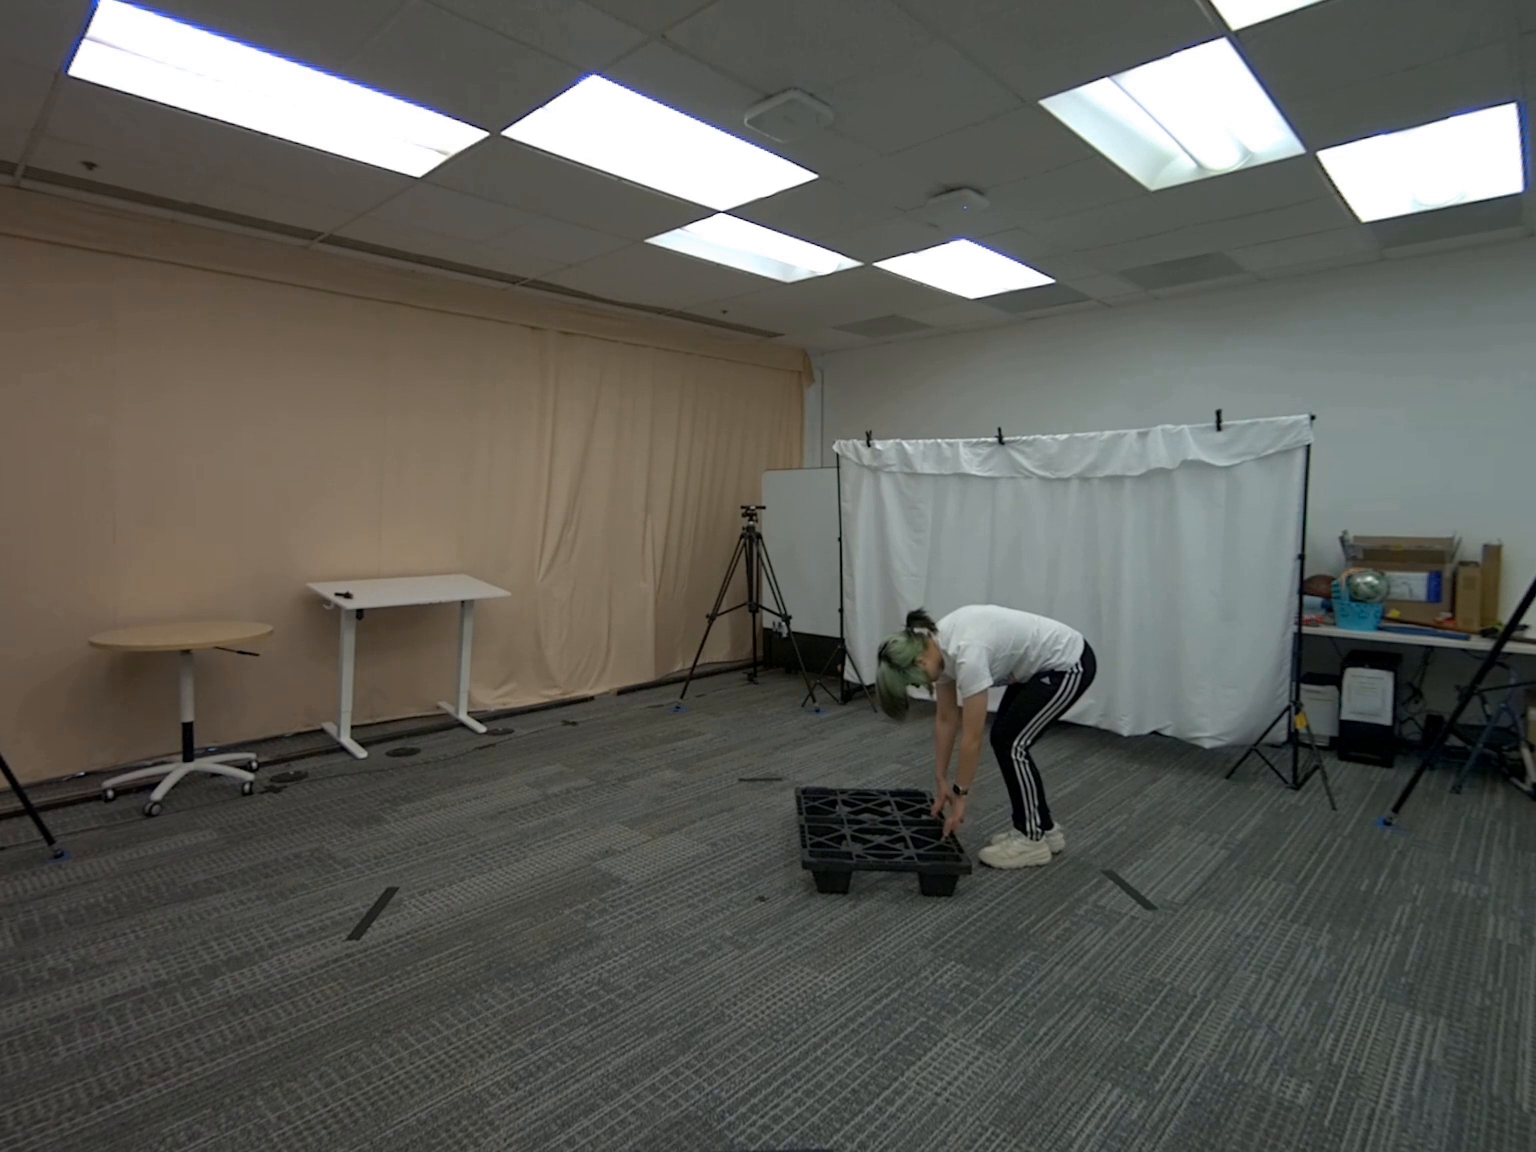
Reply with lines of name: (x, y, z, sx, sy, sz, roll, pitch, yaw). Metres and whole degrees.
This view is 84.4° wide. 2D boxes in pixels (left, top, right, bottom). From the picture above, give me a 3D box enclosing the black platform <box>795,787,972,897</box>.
black platform: (0.421, 1.043, 3.362, 0.606, 0.143, 0.806, 1, 5, 1)
